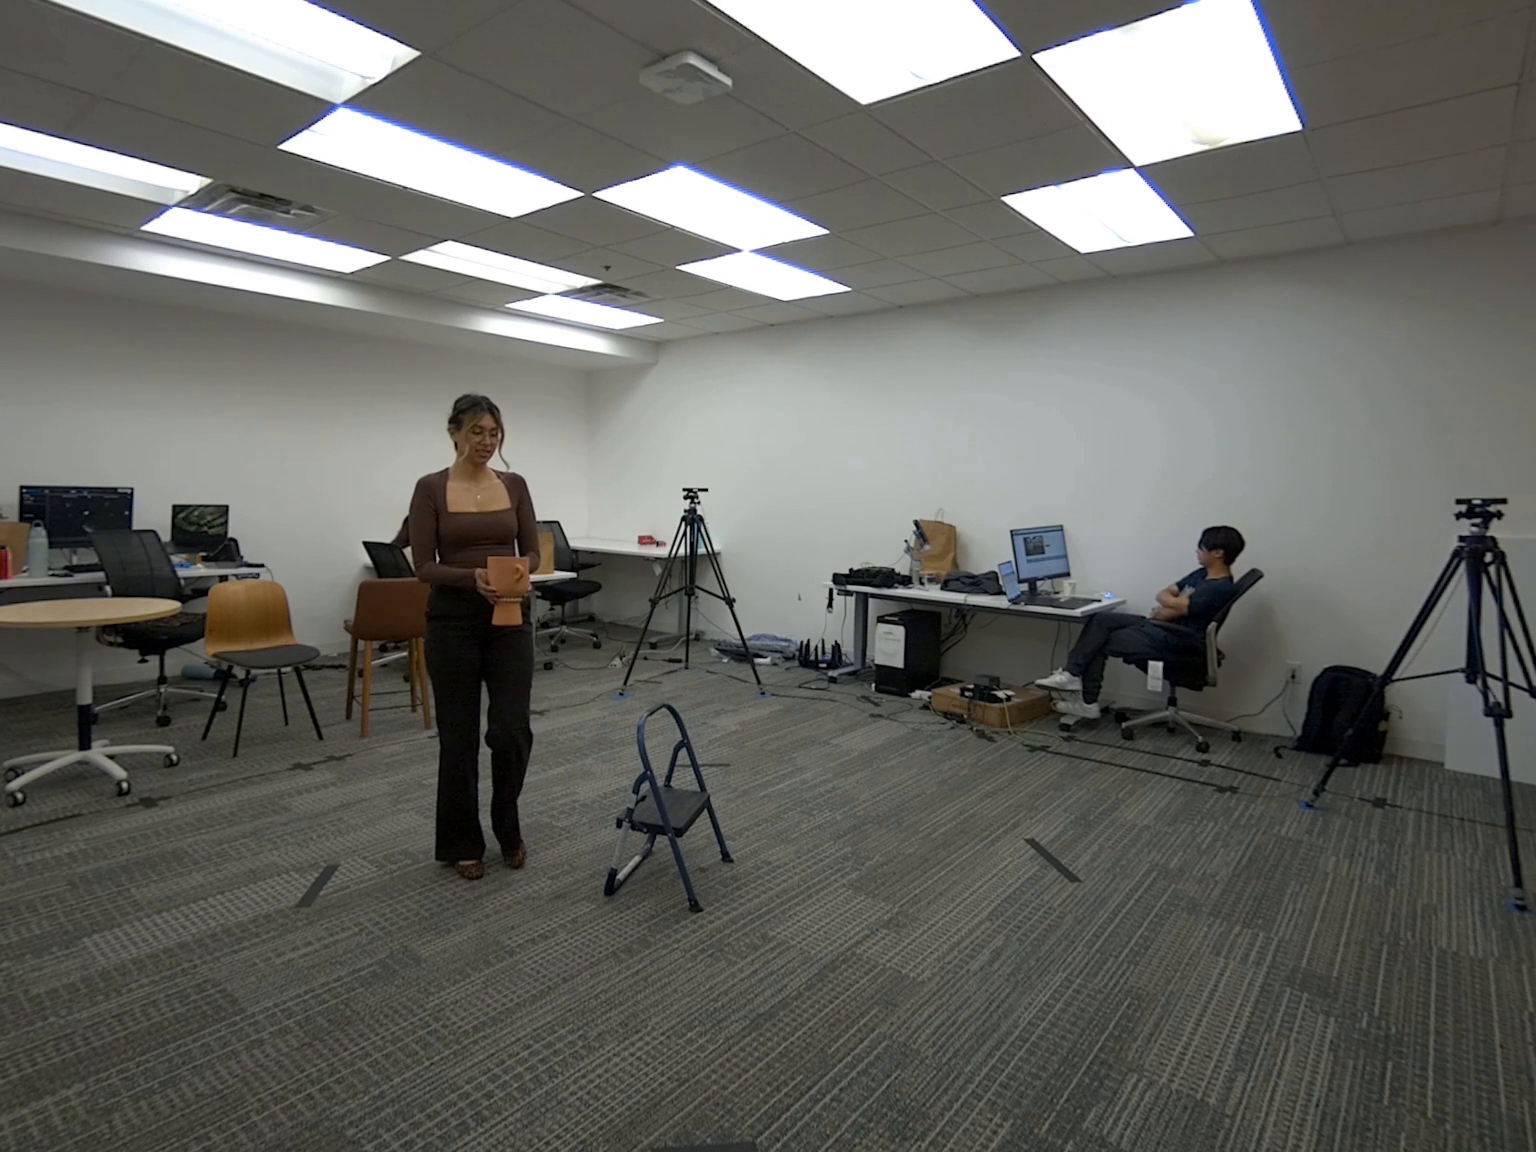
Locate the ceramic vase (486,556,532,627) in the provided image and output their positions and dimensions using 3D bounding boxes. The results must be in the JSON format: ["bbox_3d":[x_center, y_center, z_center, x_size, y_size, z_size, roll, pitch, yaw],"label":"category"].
[{"bbox_3d":[-0.863,0.049,2.792,0.134,0.220,0.160,-2,0,-6],"label":"ceramic vase"}]
